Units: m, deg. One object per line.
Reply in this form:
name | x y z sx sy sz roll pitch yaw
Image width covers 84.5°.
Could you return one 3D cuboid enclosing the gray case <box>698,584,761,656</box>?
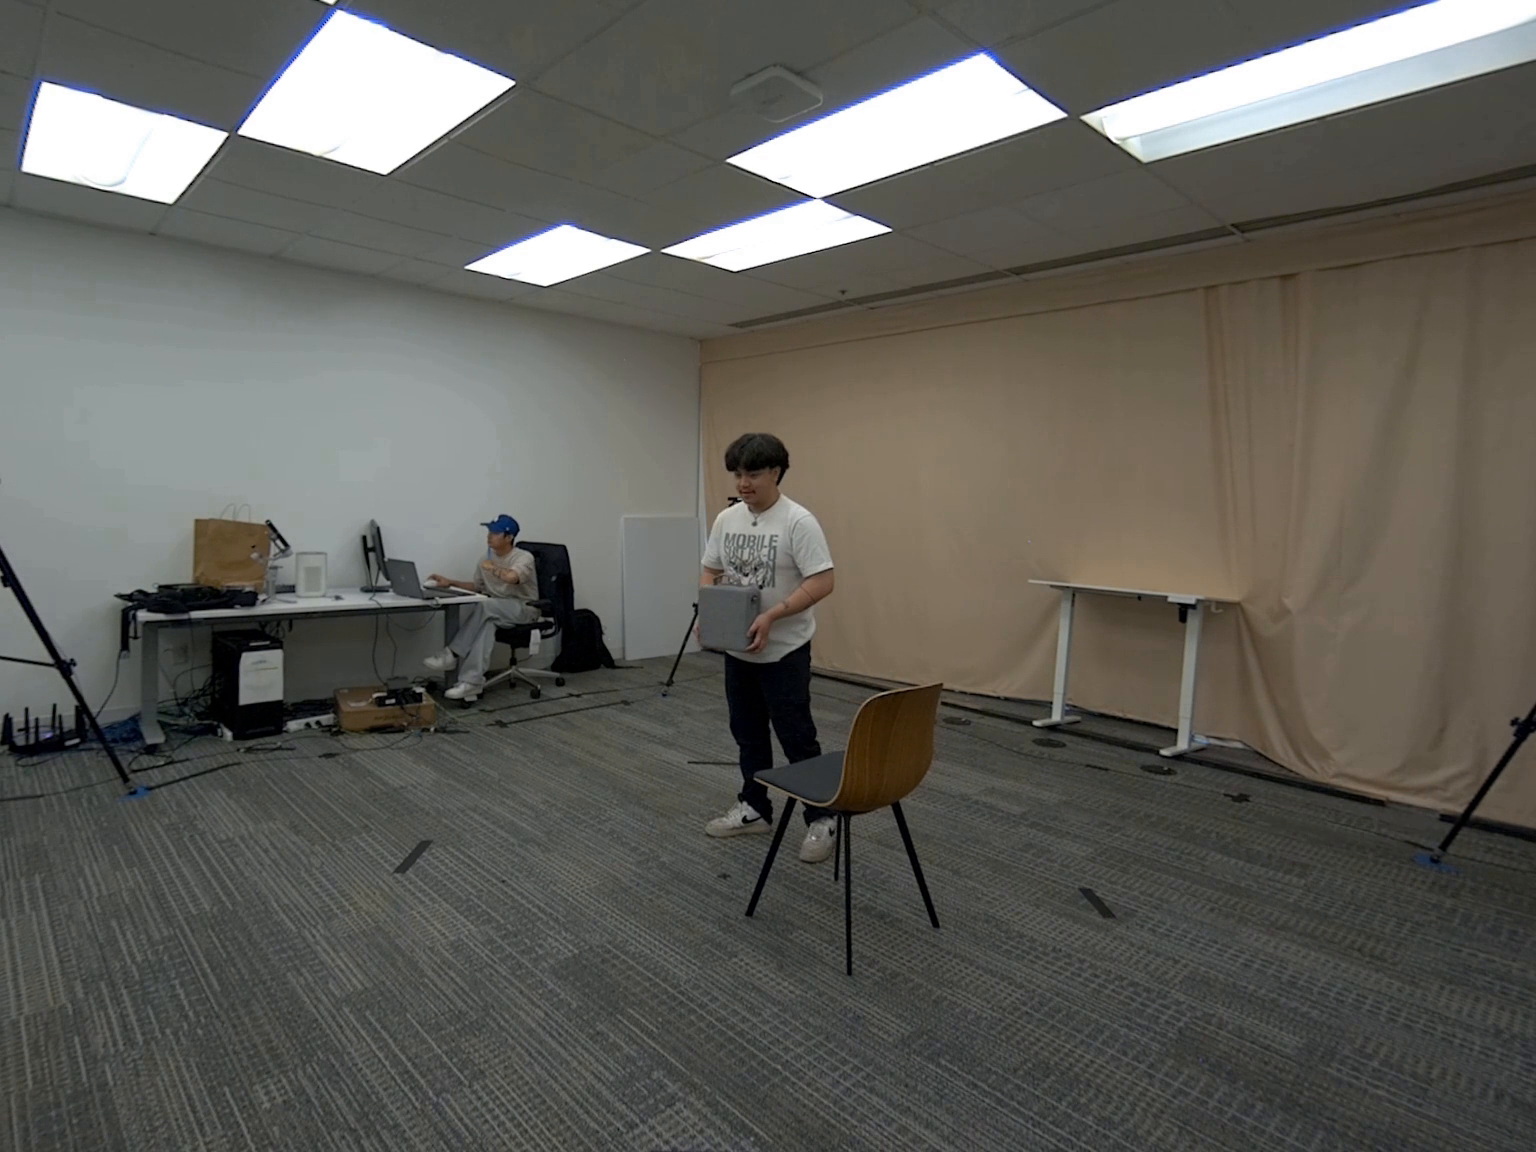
gray case | -0.154 0.158 3.268 0.263 0.260 0.102 0 4 35
